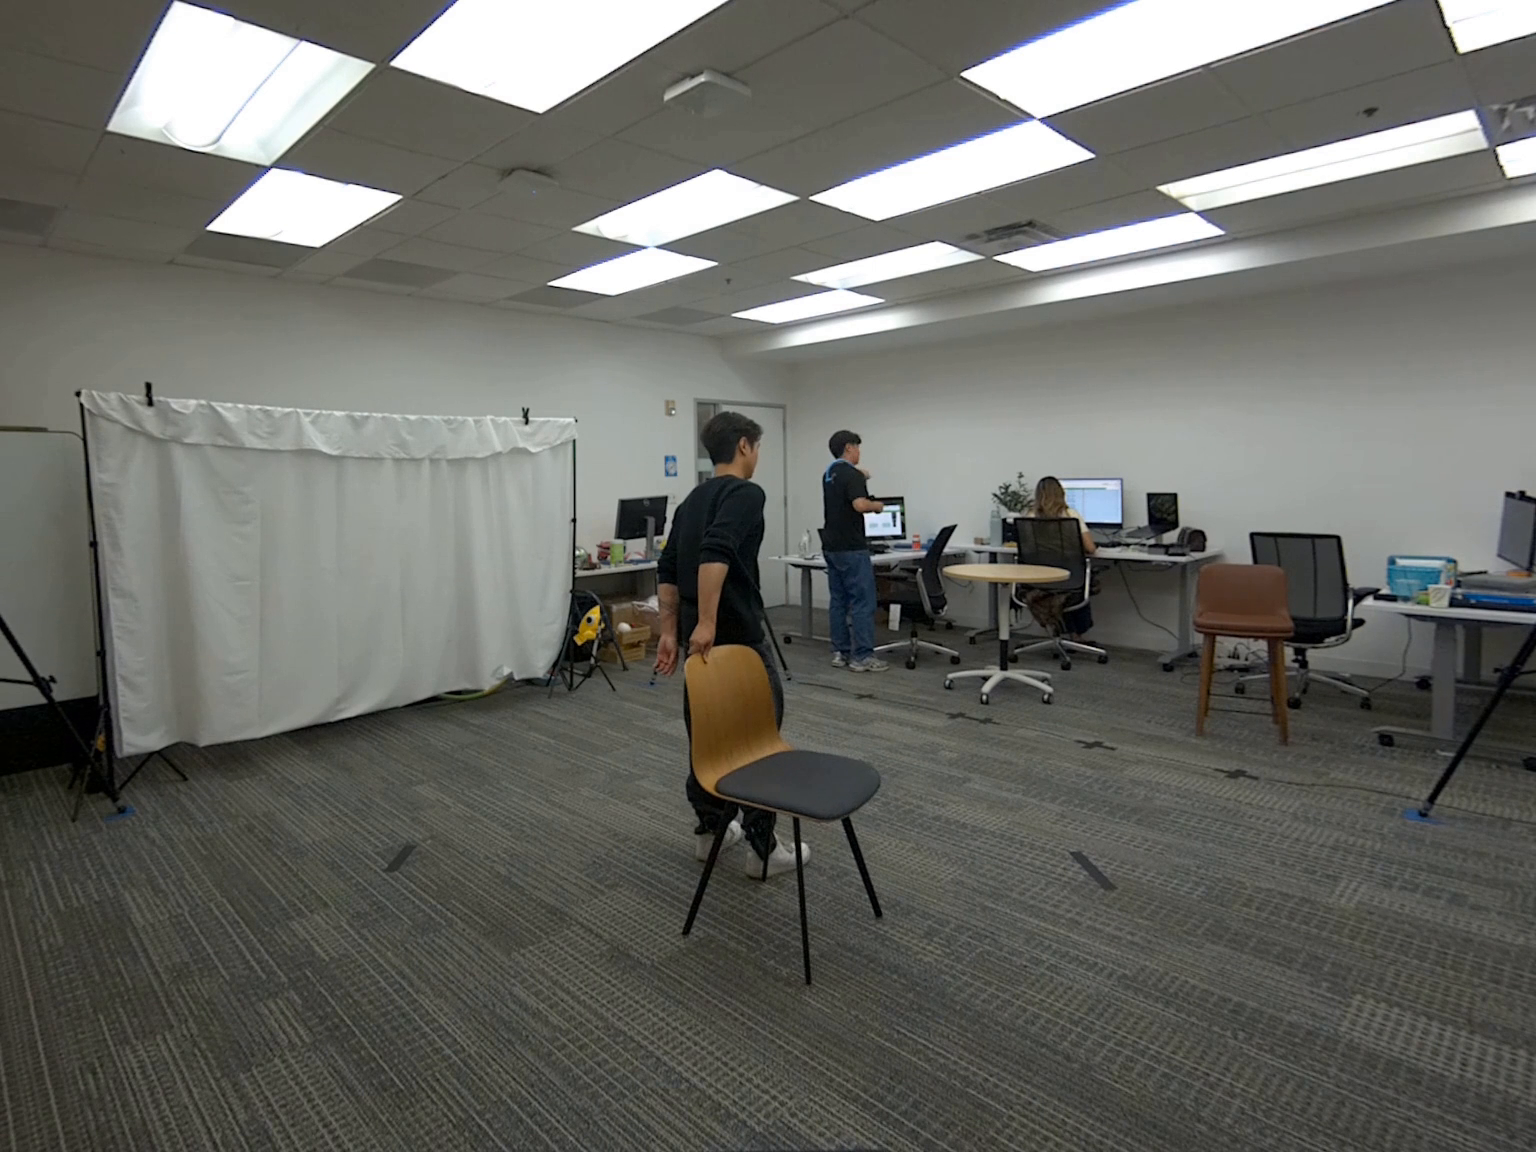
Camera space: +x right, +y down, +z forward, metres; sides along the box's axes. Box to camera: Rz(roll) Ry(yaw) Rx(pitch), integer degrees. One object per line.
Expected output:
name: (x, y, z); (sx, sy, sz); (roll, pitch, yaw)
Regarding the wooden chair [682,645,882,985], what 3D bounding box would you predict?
wooden chair: (0.050, 0.671, 2.628); (0.537, 0.876, 0.466); (-3, 2, 36)
